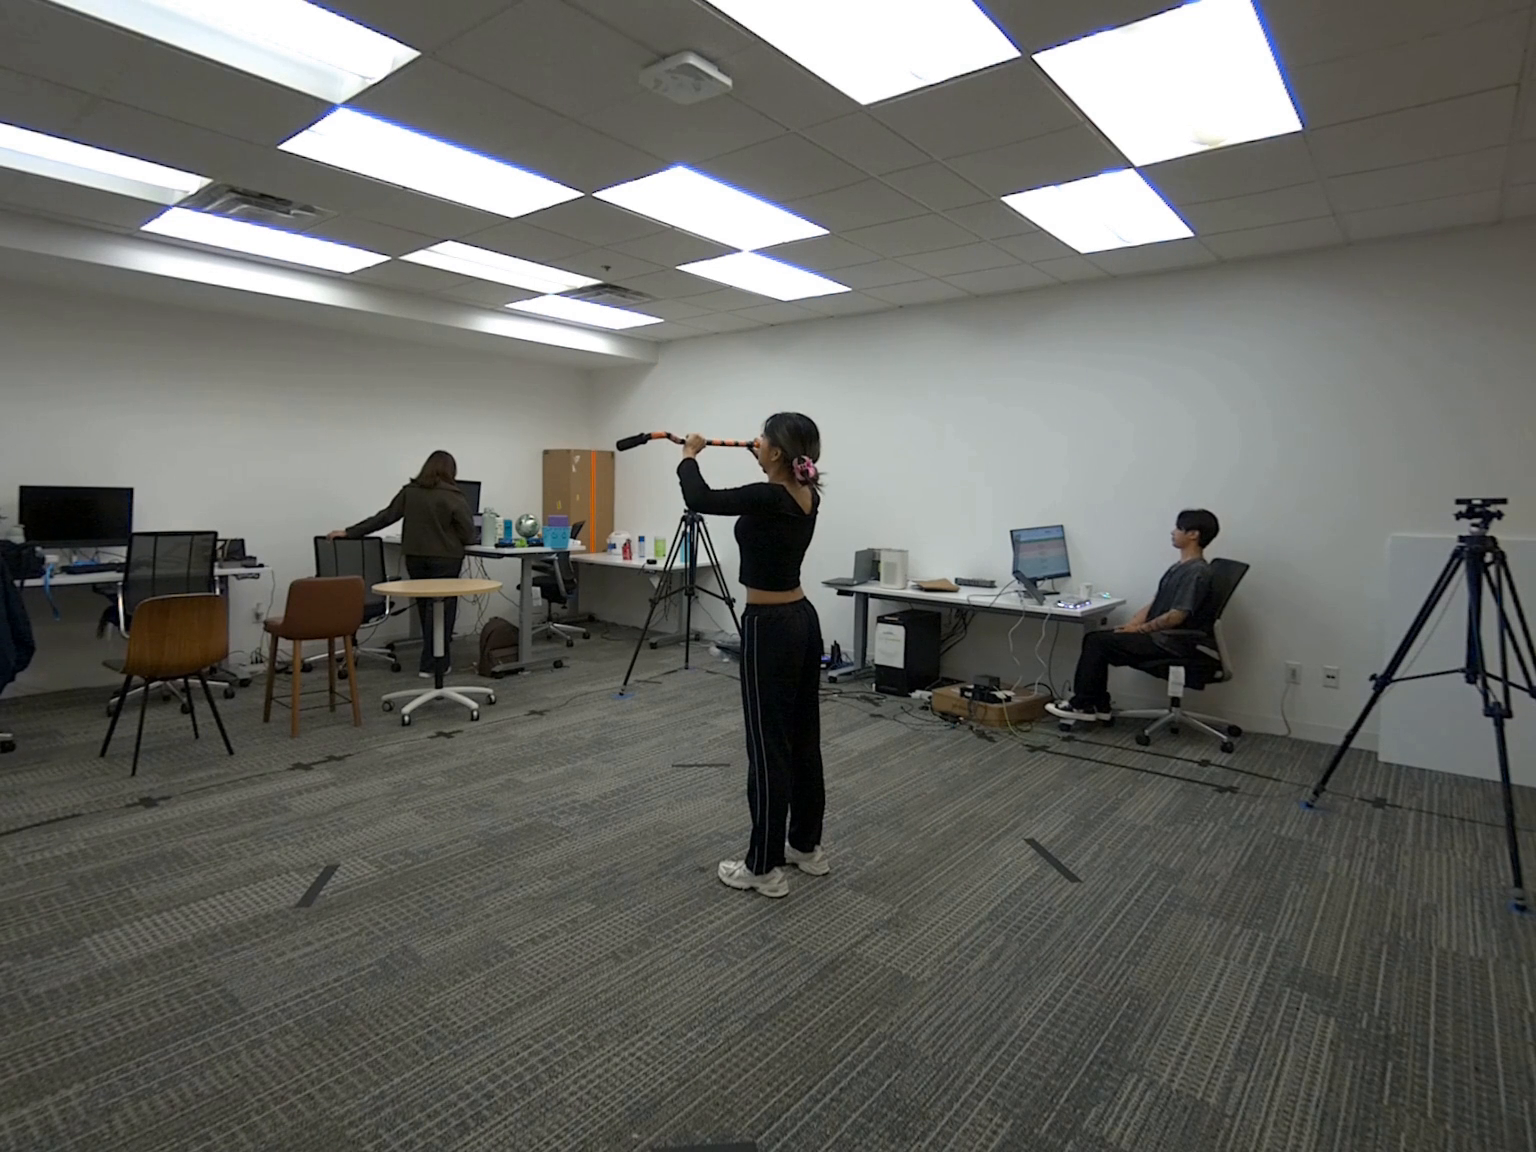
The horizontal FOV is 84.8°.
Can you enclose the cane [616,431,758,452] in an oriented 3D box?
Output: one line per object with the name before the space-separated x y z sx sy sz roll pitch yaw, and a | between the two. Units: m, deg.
cane | -0.181 -0.465 3.041 0.211 0.152 0.885 -10 0 33
